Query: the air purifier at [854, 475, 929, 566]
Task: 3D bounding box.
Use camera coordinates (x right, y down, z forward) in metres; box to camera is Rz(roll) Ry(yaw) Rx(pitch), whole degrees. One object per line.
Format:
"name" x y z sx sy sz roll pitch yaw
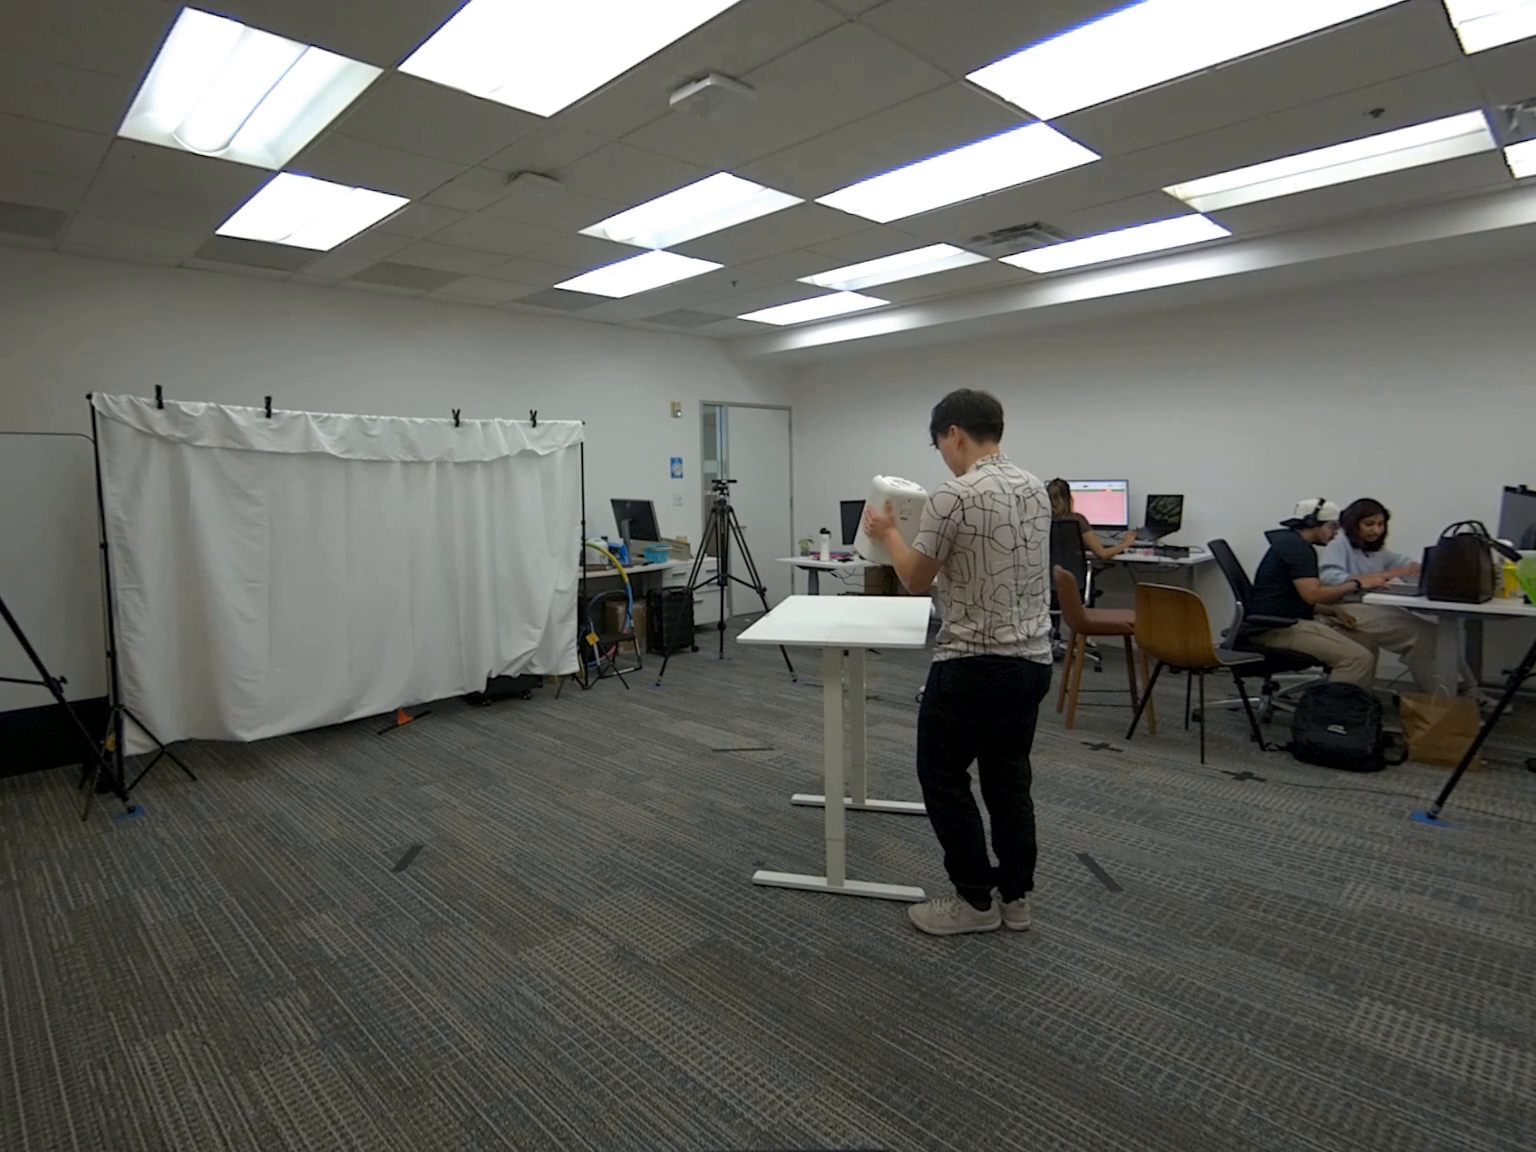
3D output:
"air purifier" 0.418 -0.192 2.872 0.169 0.262 0.176 5 19 -13
